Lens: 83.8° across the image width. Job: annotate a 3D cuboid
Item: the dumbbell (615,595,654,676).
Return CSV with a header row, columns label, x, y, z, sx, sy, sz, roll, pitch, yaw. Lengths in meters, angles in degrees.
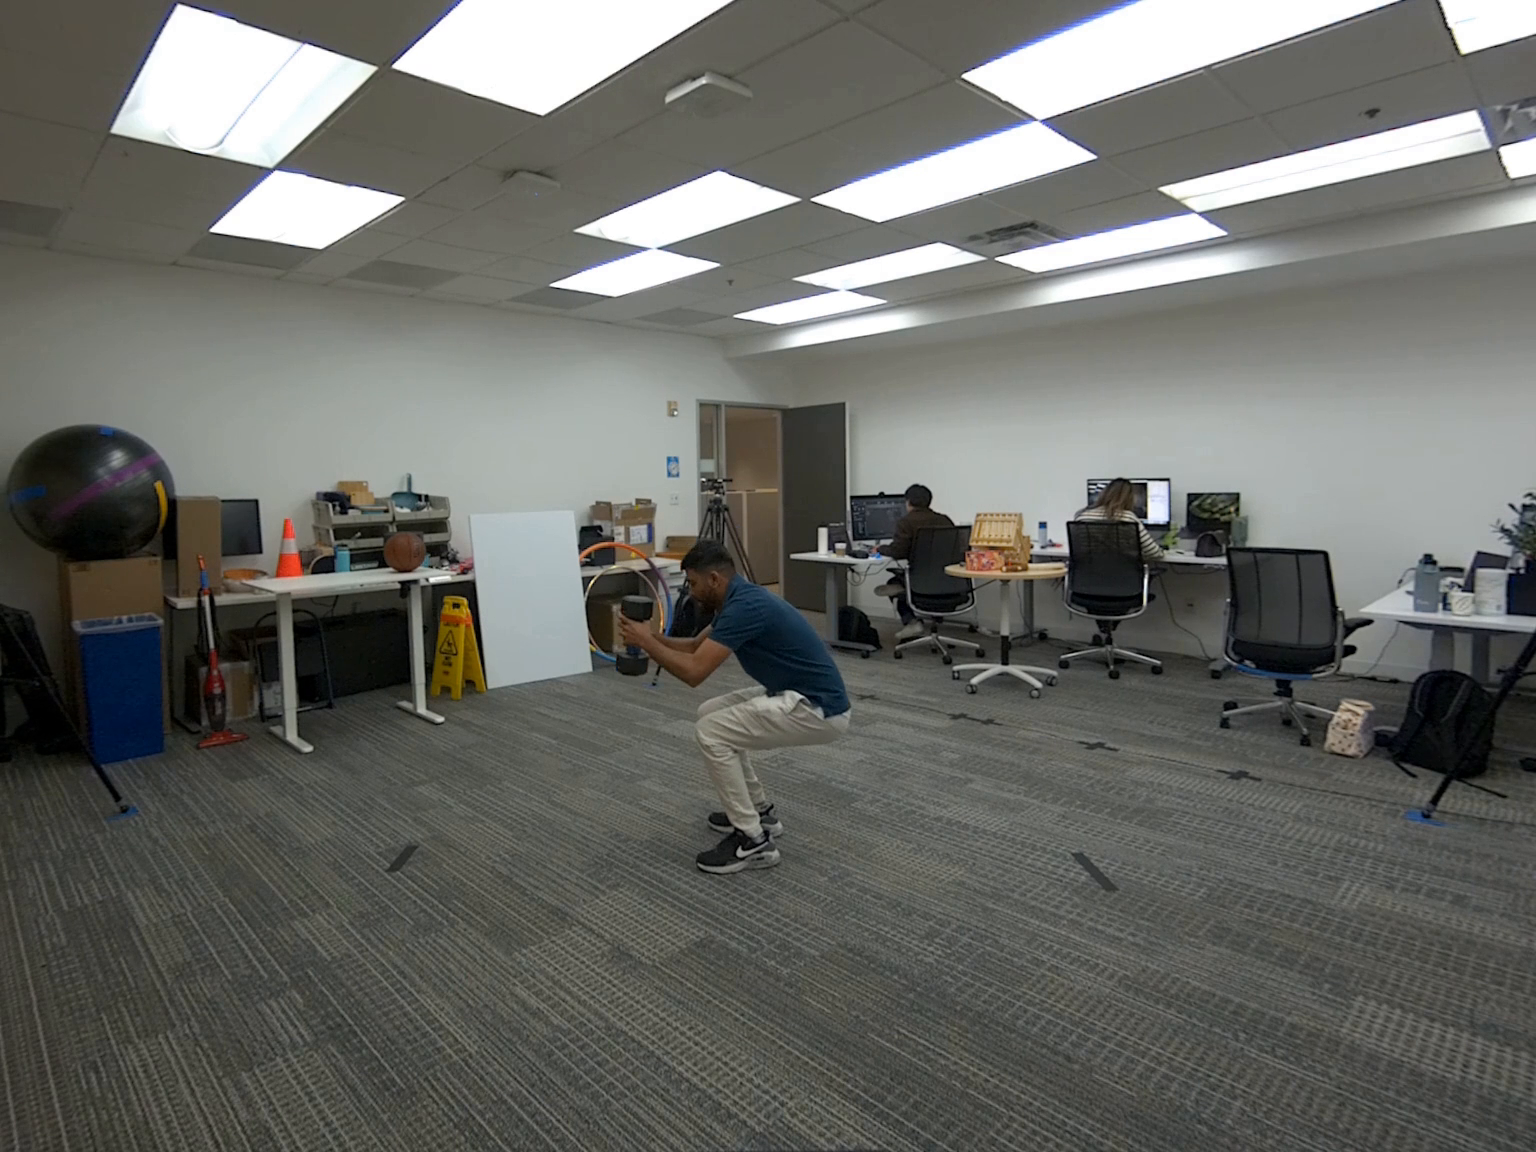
label,x,y,z,sx,sy,sz,roll,pitch,yaw
dumbbell,-0.503,0.223,3.249,0.112,0.293,0.120,8,3,30
